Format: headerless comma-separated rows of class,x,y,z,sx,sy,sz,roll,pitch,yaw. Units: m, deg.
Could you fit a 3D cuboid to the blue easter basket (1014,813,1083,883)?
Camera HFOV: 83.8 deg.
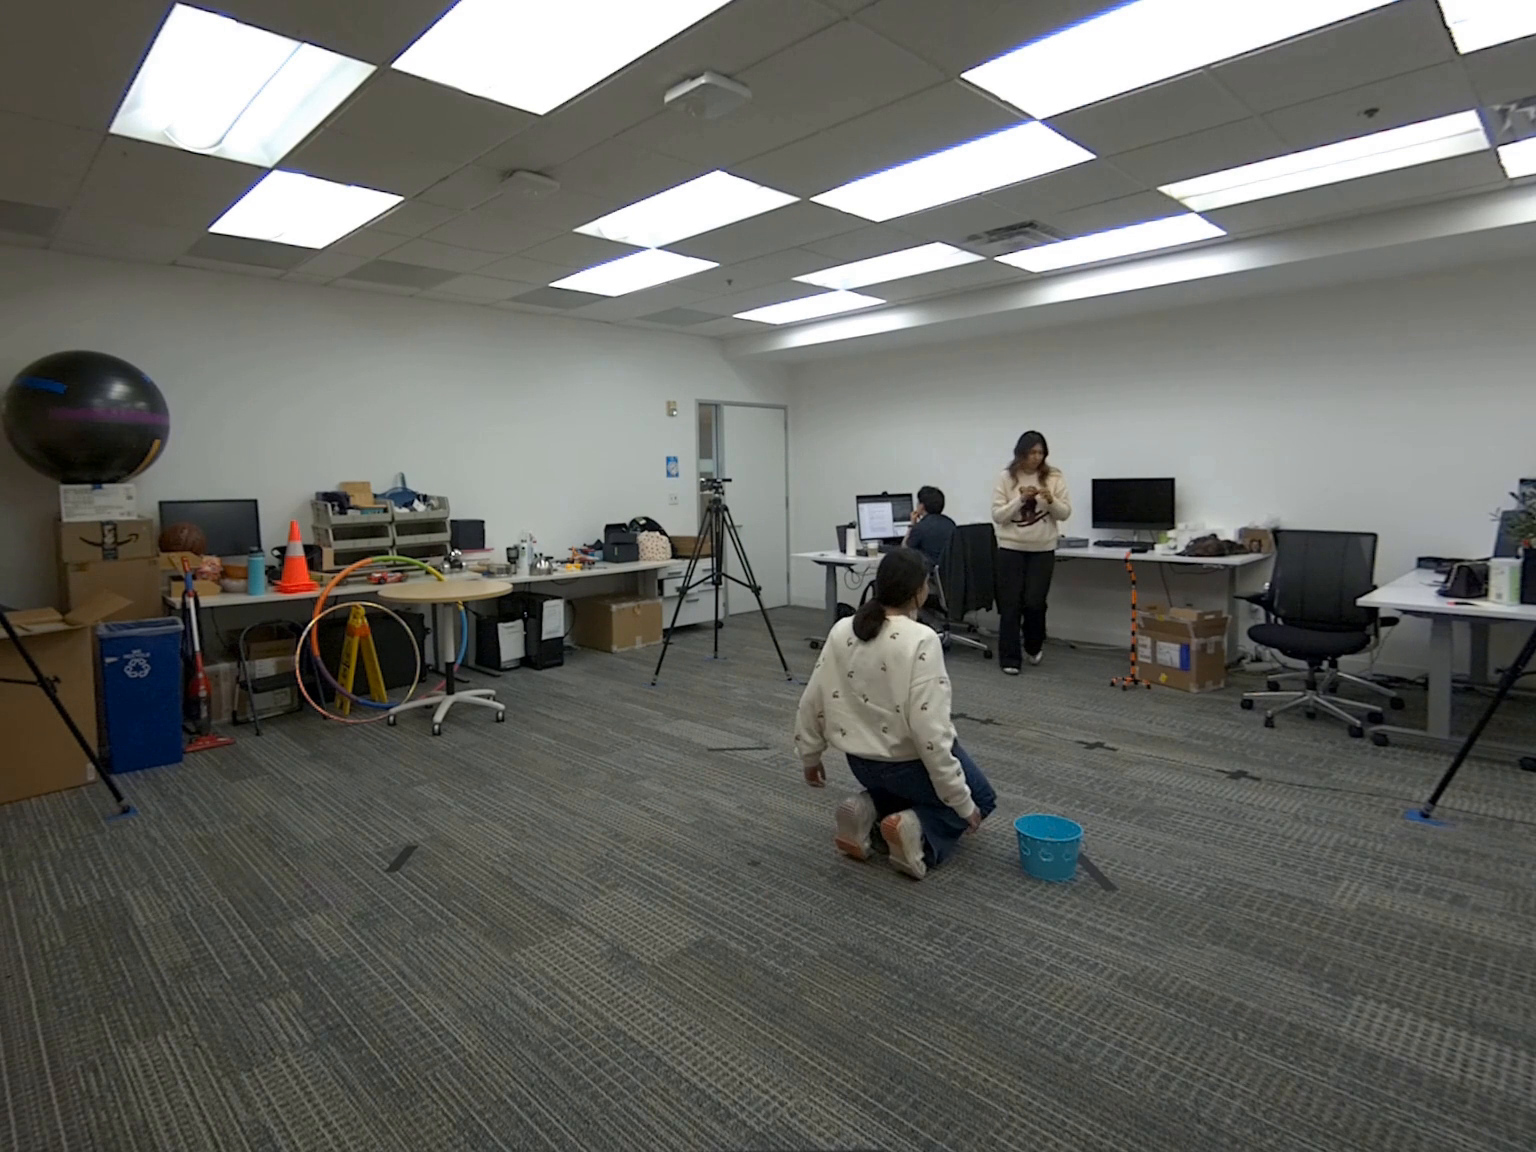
blue easter basket,0.982,0.955,3.010,0.243,0.155,0.245,-2,5,-2
